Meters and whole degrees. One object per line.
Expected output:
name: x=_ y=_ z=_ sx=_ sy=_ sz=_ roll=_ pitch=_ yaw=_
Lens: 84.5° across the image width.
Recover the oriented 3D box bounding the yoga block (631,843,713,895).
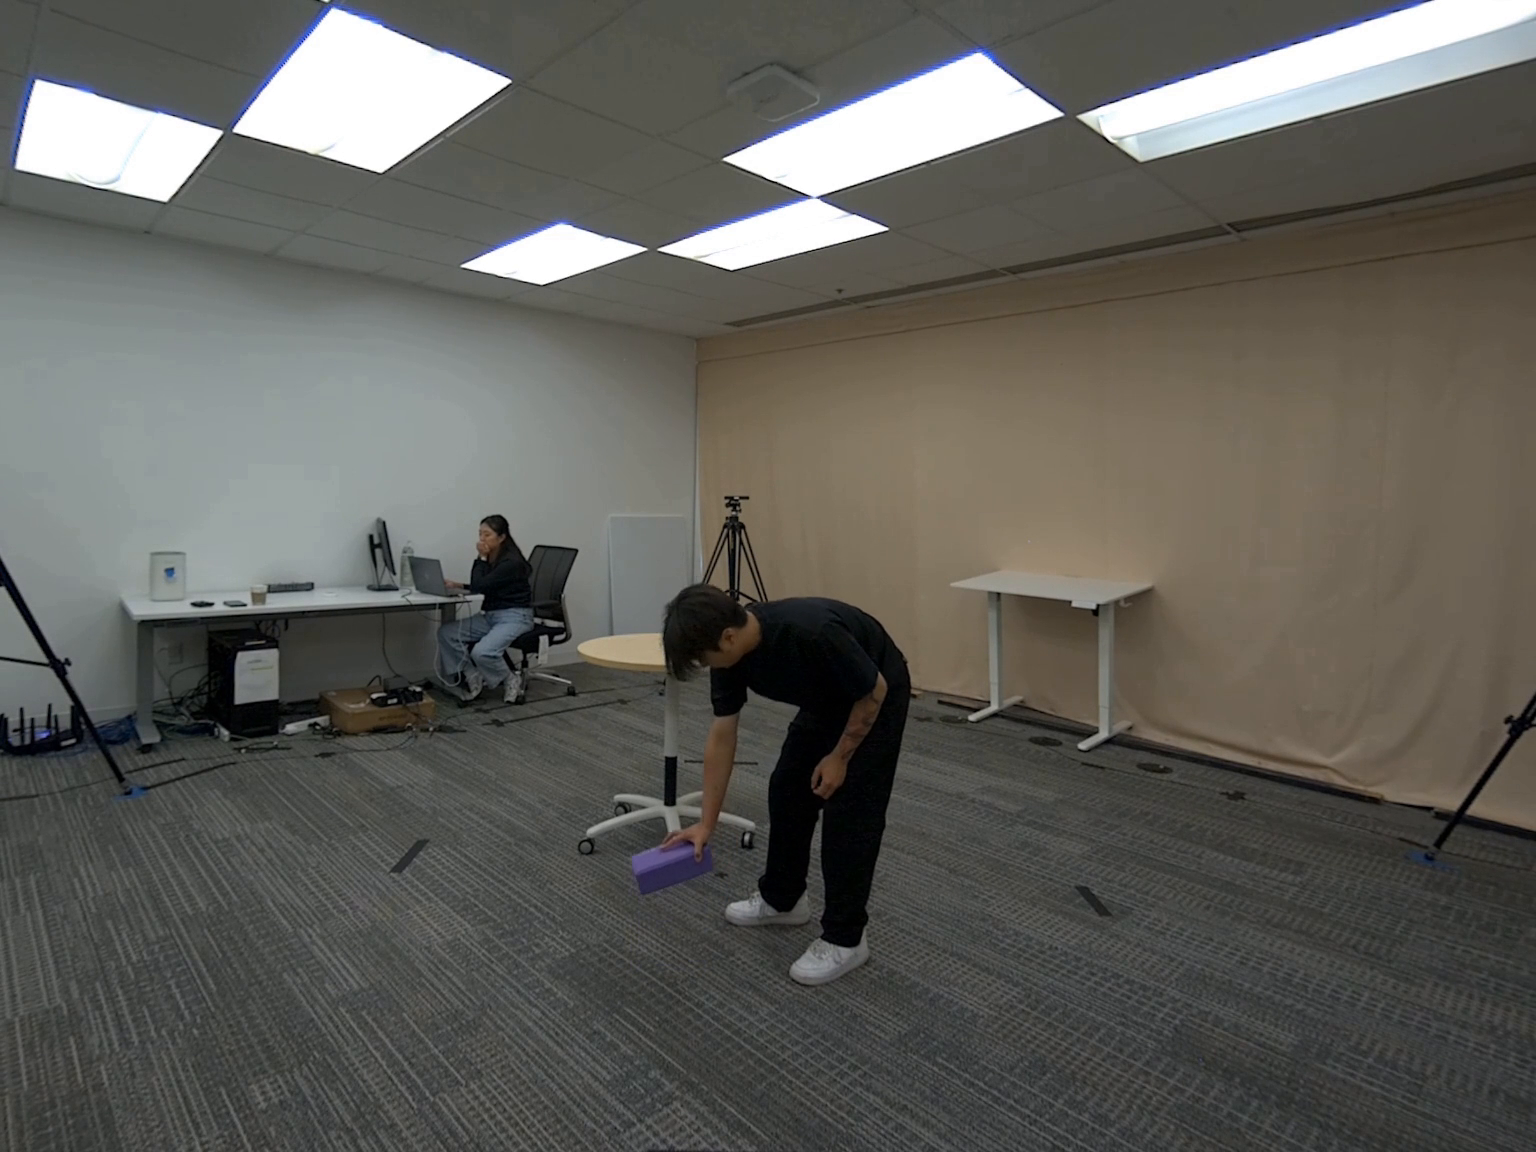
yoga block: x=-0.301 y=0.864 z=2.535 sx=0.229 sy=0.076 sz=0.150 roll=-10 pitch=6 yaw=-4
